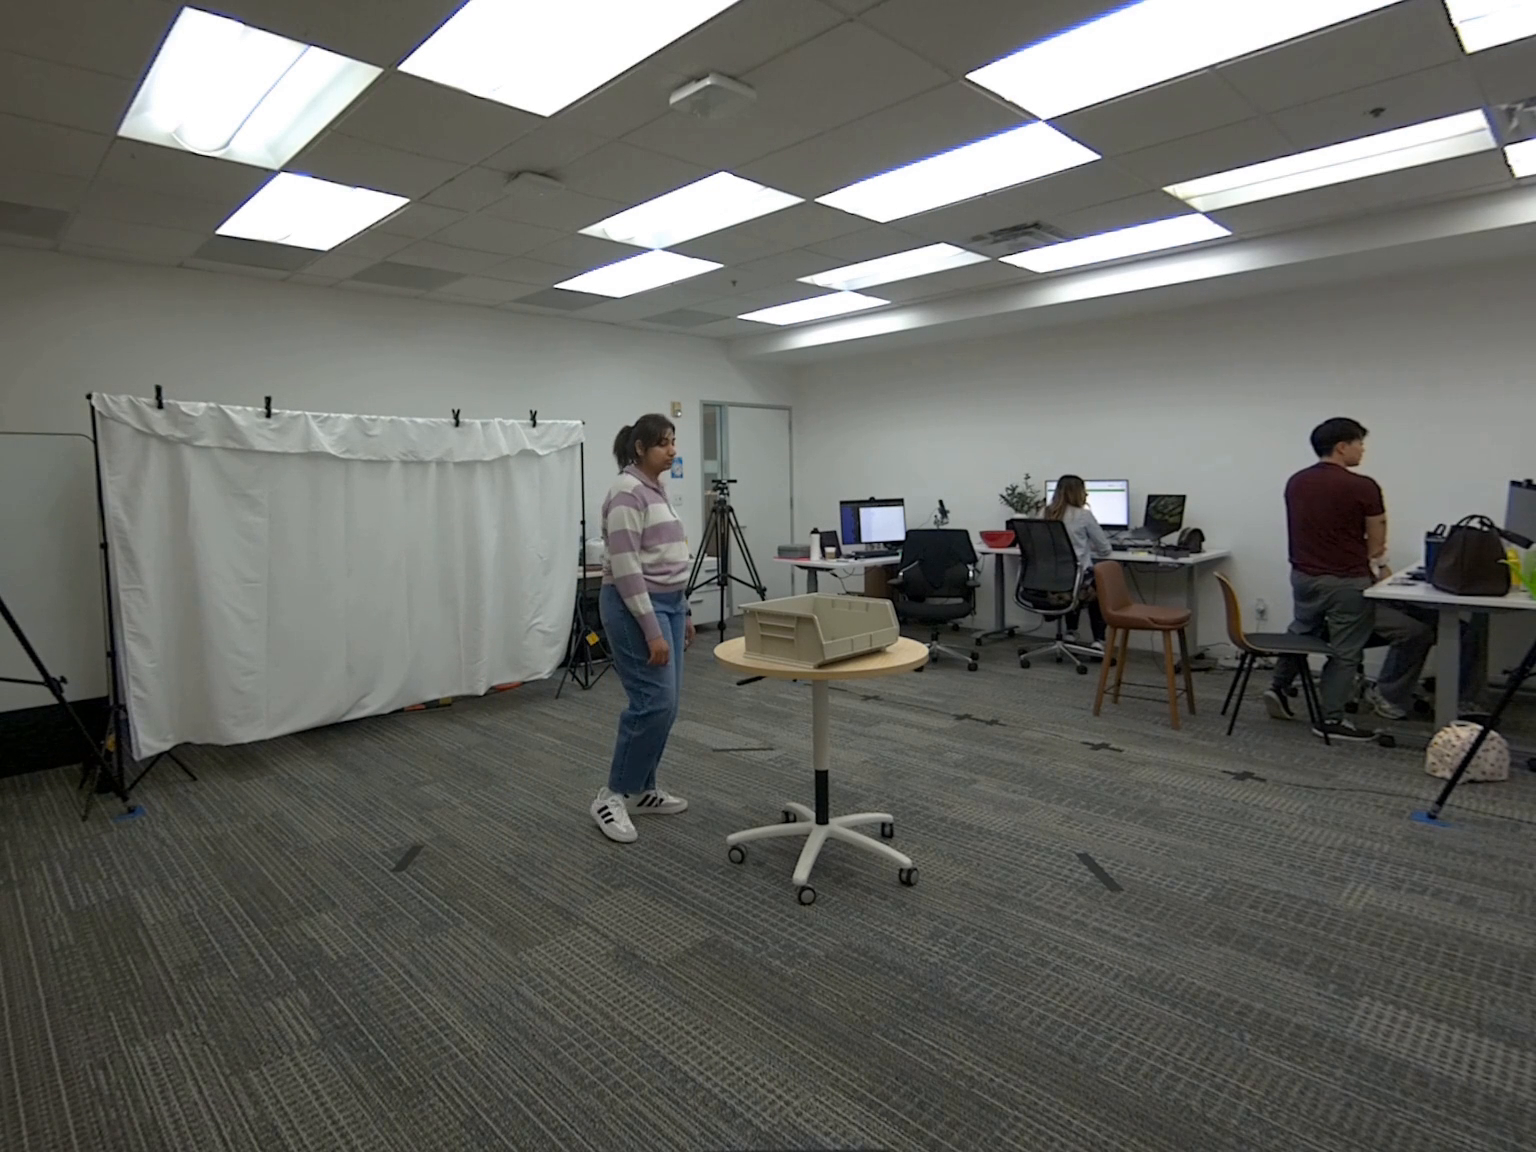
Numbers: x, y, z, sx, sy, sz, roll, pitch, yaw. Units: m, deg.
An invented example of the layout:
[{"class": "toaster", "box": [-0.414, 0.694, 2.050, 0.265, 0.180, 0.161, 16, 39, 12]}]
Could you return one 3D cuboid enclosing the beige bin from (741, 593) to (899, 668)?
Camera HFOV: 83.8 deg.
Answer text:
[{"class": "beige bin", "box": [0.183, 0.186, 2.969, 0.388, 0.188, 0.411, 2, 7, 45]}]
